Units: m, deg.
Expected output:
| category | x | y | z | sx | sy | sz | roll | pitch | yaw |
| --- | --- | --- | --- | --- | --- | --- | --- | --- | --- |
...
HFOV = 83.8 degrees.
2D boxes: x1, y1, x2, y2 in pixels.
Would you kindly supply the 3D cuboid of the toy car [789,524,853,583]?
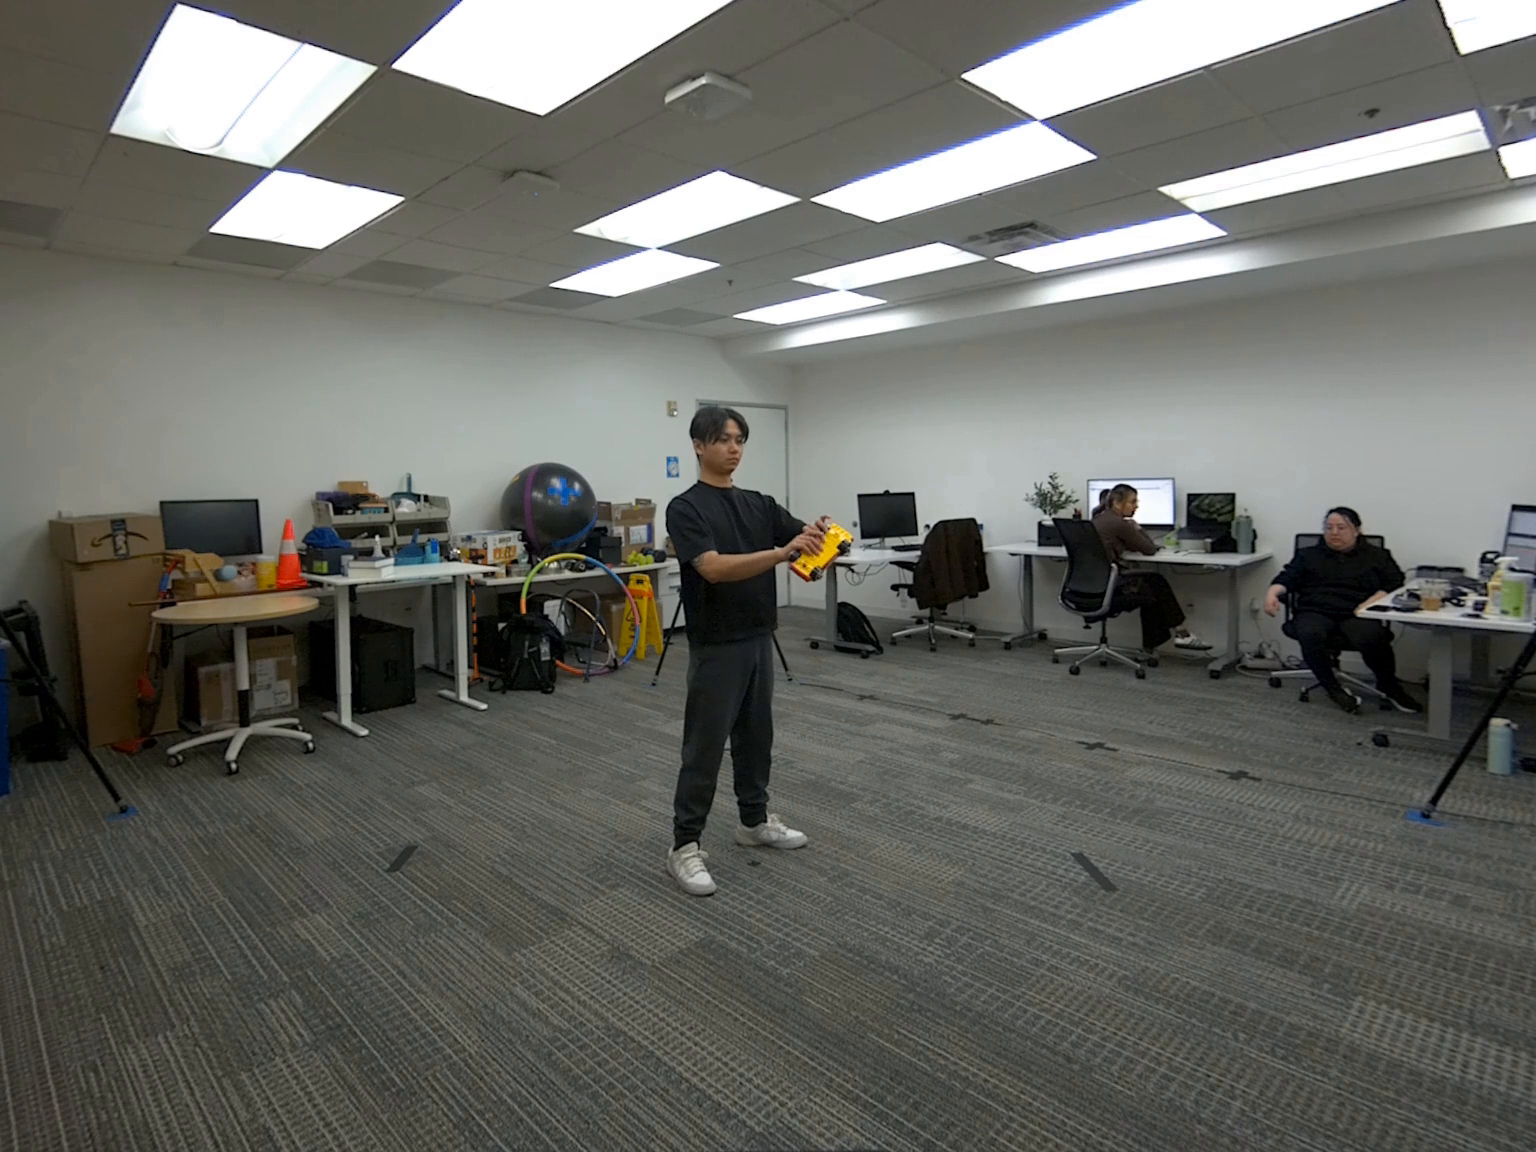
| category | x | y | z | sx | sy | sz | roll | pitch | yaw |
| --- | --- | --- | --- | --- | --- | --- | --- | --- | --- |
| toy car | 0.180 | -0.084 | 2.763 | 0.134 | 0.081 | 0.253 | 35 | 50 | 20 |
